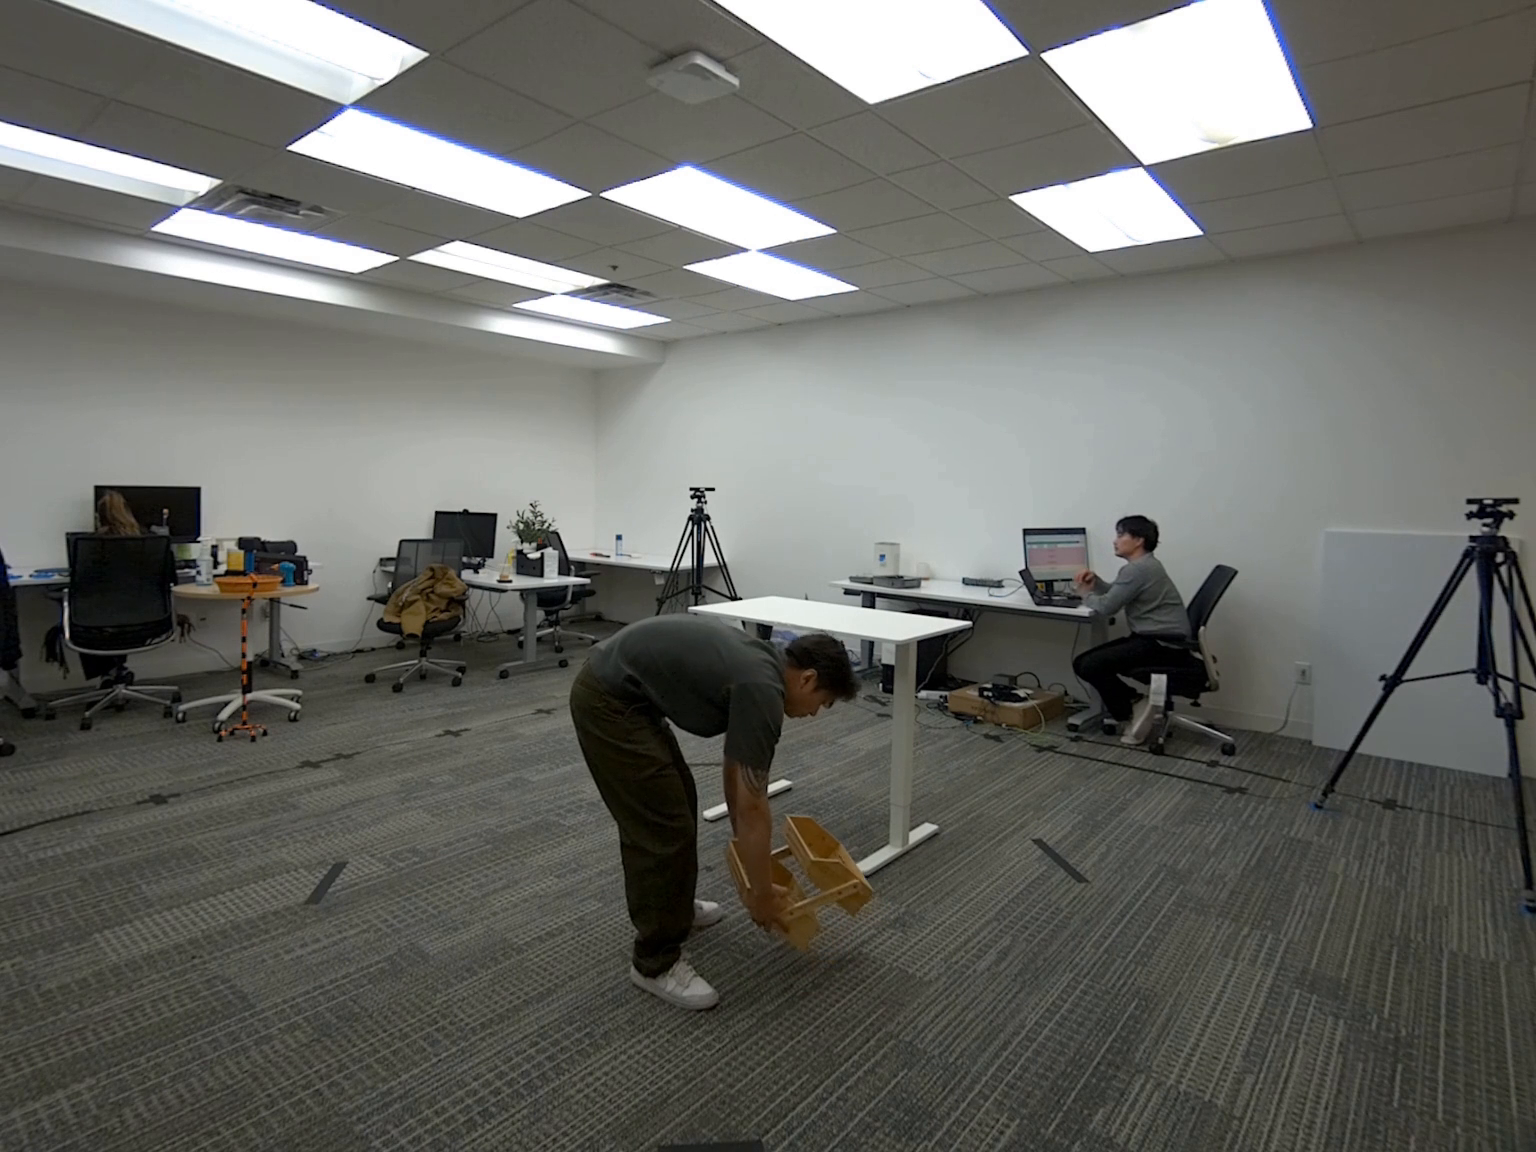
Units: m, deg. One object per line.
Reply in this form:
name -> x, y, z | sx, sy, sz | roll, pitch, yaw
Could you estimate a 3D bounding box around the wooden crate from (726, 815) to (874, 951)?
wooden crate -> 0.089, 0.868, 2.500 | 0.297, 0.273, 0.330 | 41, -2, -13
